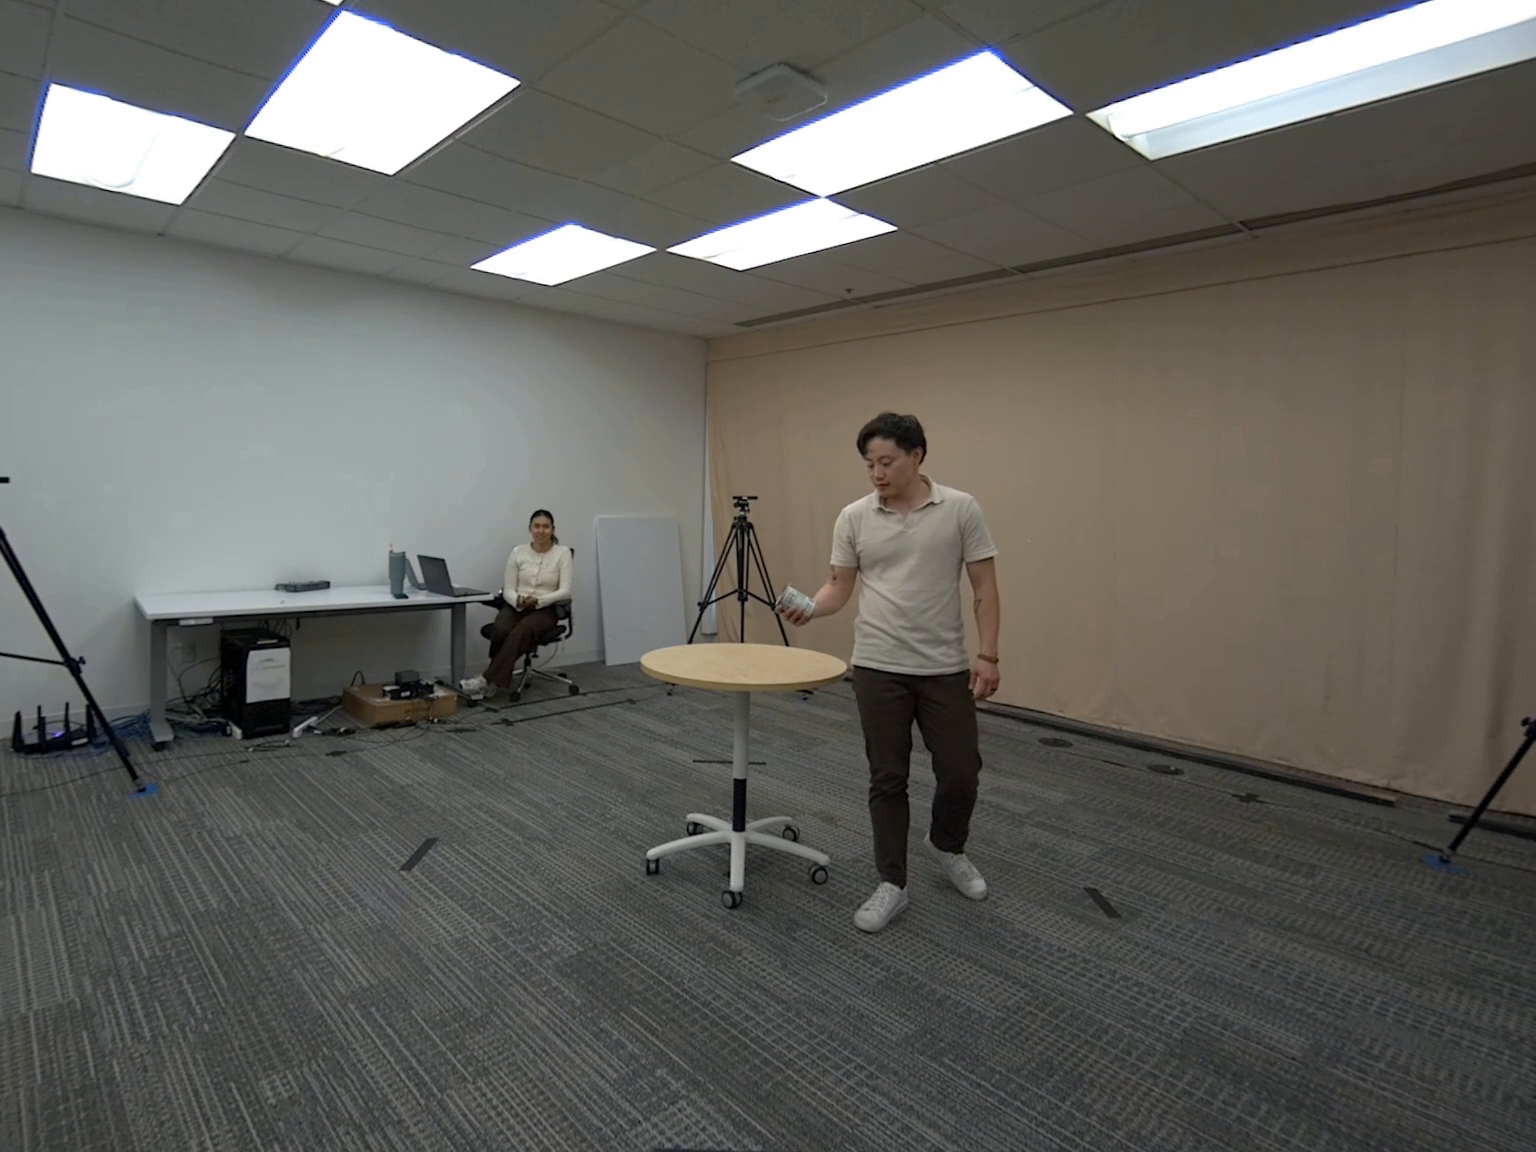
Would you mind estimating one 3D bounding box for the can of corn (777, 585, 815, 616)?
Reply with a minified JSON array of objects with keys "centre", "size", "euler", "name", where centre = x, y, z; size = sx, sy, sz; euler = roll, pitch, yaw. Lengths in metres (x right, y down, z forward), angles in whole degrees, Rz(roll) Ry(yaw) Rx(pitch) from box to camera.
[{"centre":[0.078,0.081,2.640],"size":[0.111,0.074,0.074],"euler":[24,4,-1],"name":"can of corn"}]
